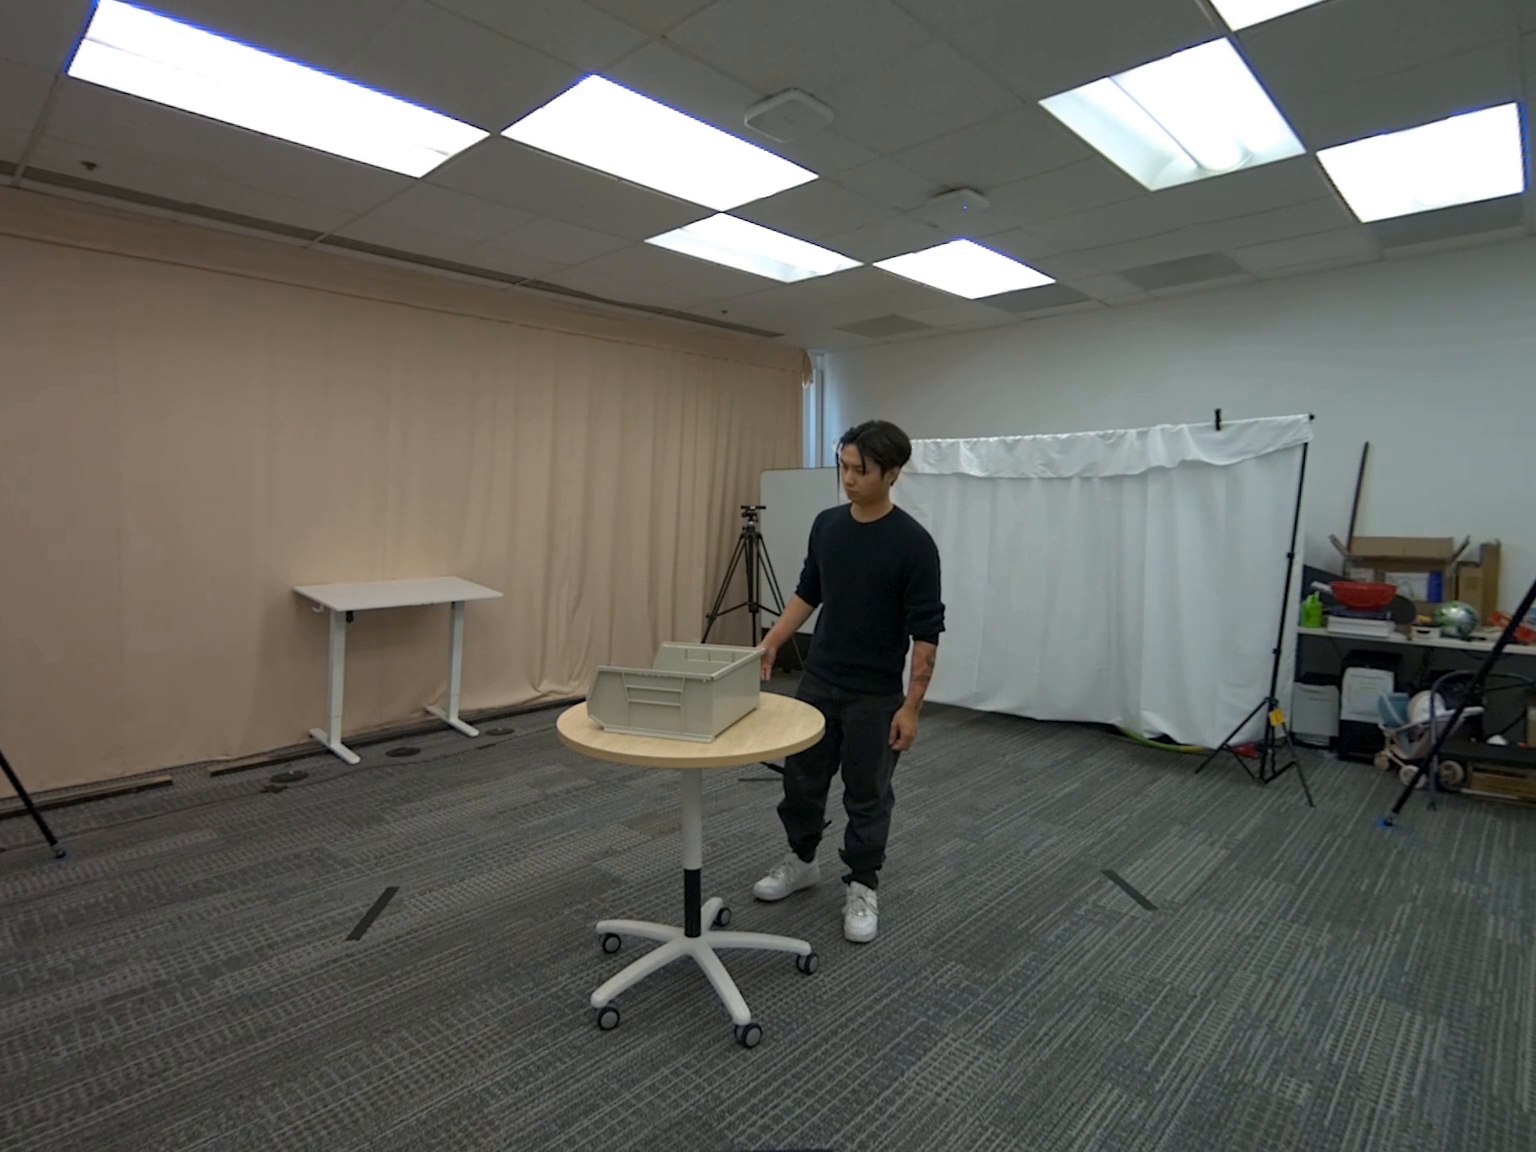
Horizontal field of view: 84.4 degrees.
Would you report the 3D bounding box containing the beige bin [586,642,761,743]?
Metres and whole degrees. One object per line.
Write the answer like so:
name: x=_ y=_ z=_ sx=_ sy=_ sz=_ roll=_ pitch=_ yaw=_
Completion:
beige bin: x=-0.268 y=0.329 z=2.376 sx=0.383 sy=0.188 sz=0.417 roll=2 pitch=4 yaw=13
